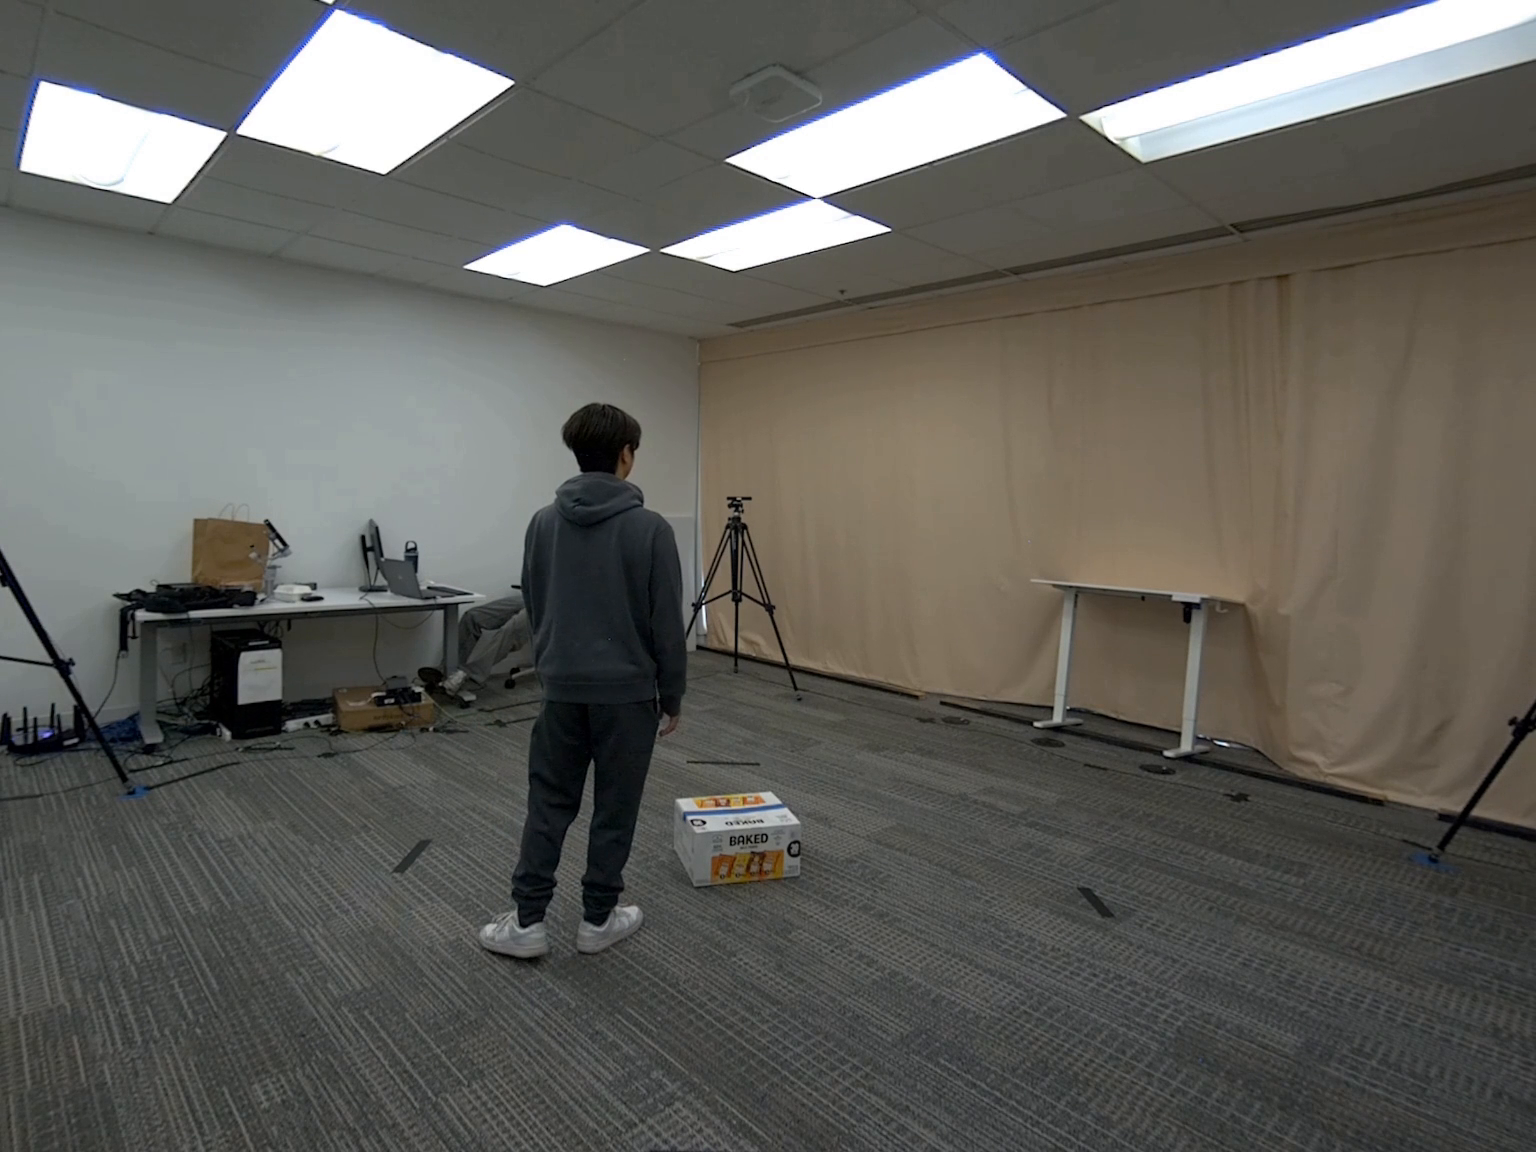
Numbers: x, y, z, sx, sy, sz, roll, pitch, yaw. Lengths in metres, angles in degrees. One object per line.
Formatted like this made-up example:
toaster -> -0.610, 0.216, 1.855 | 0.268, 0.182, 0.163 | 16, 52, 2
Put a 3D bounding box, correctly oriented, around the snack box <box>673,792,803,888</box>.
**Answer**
snack box -> -0.131, 0.995, 3.207 | 0.400, 0.205, 0.346 | 0, 4, -18
